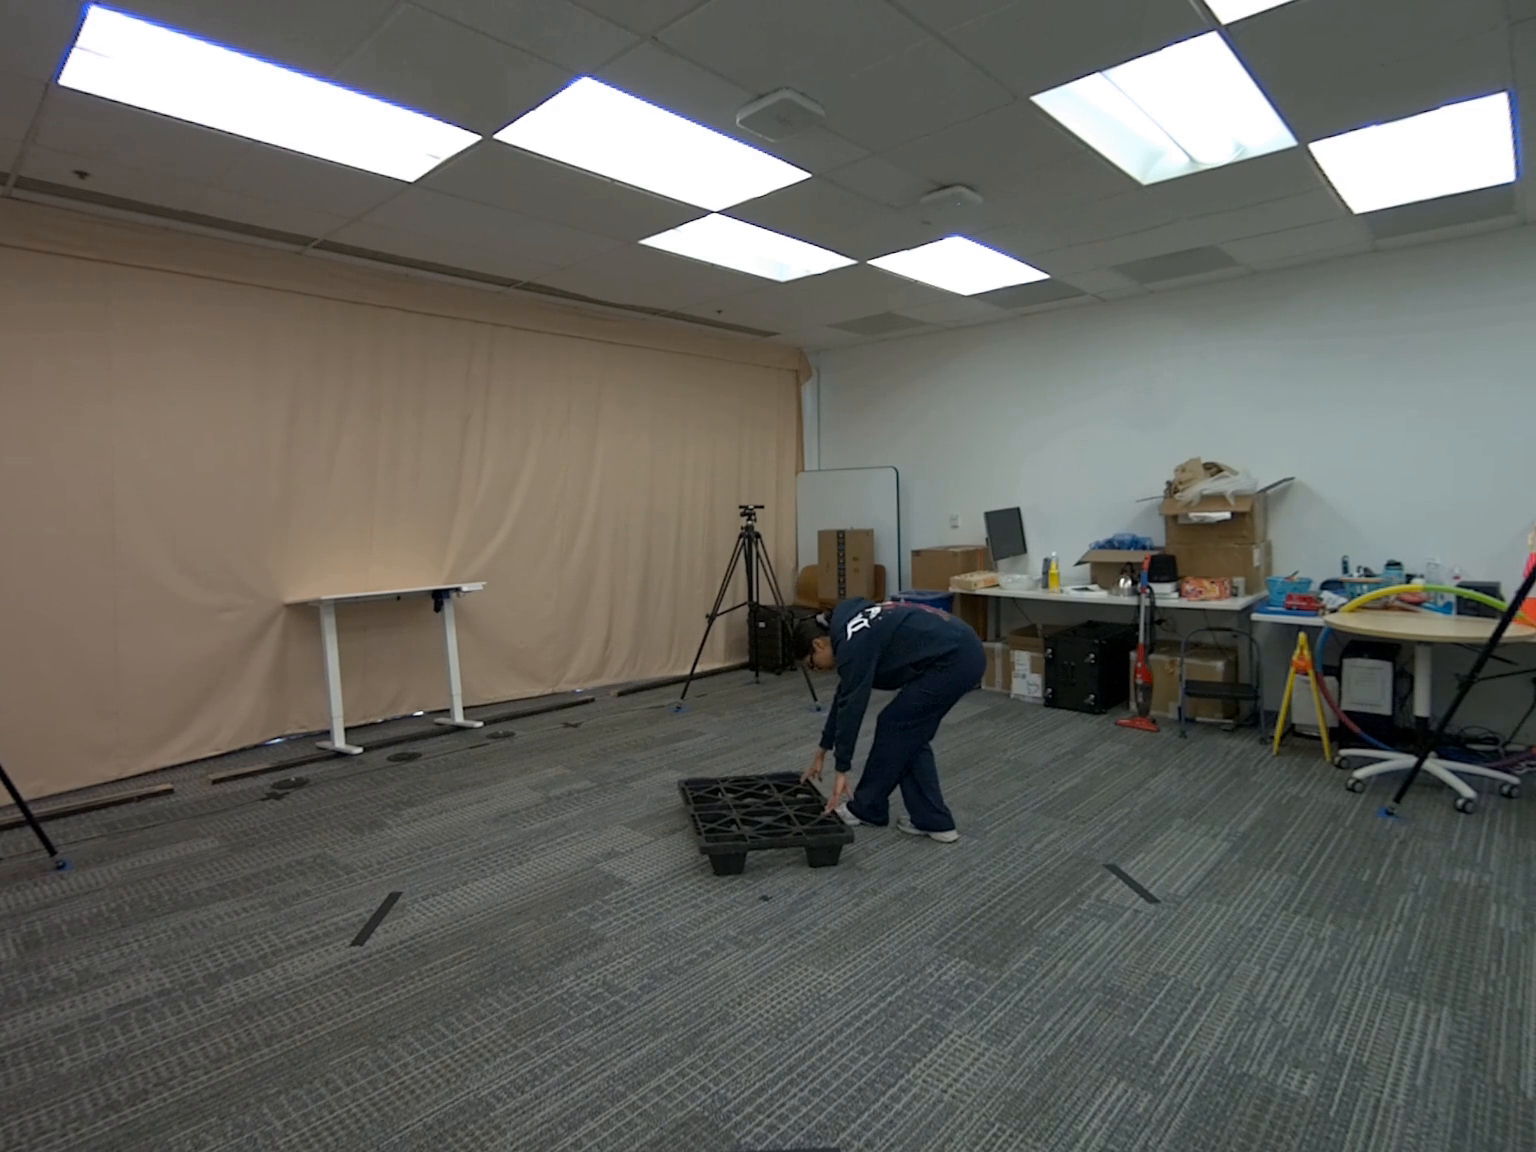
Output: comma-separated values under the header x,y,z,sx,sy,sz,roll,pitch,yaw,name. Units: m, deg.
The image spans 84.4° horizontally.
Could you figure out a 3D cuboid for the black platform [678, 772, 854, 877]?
x,y,z,sx,sy,sz,roll,pitch,yaw,name
-0.038,1.025,3.552,0.599,0.143,0.816,-1,4,-11,black platform
